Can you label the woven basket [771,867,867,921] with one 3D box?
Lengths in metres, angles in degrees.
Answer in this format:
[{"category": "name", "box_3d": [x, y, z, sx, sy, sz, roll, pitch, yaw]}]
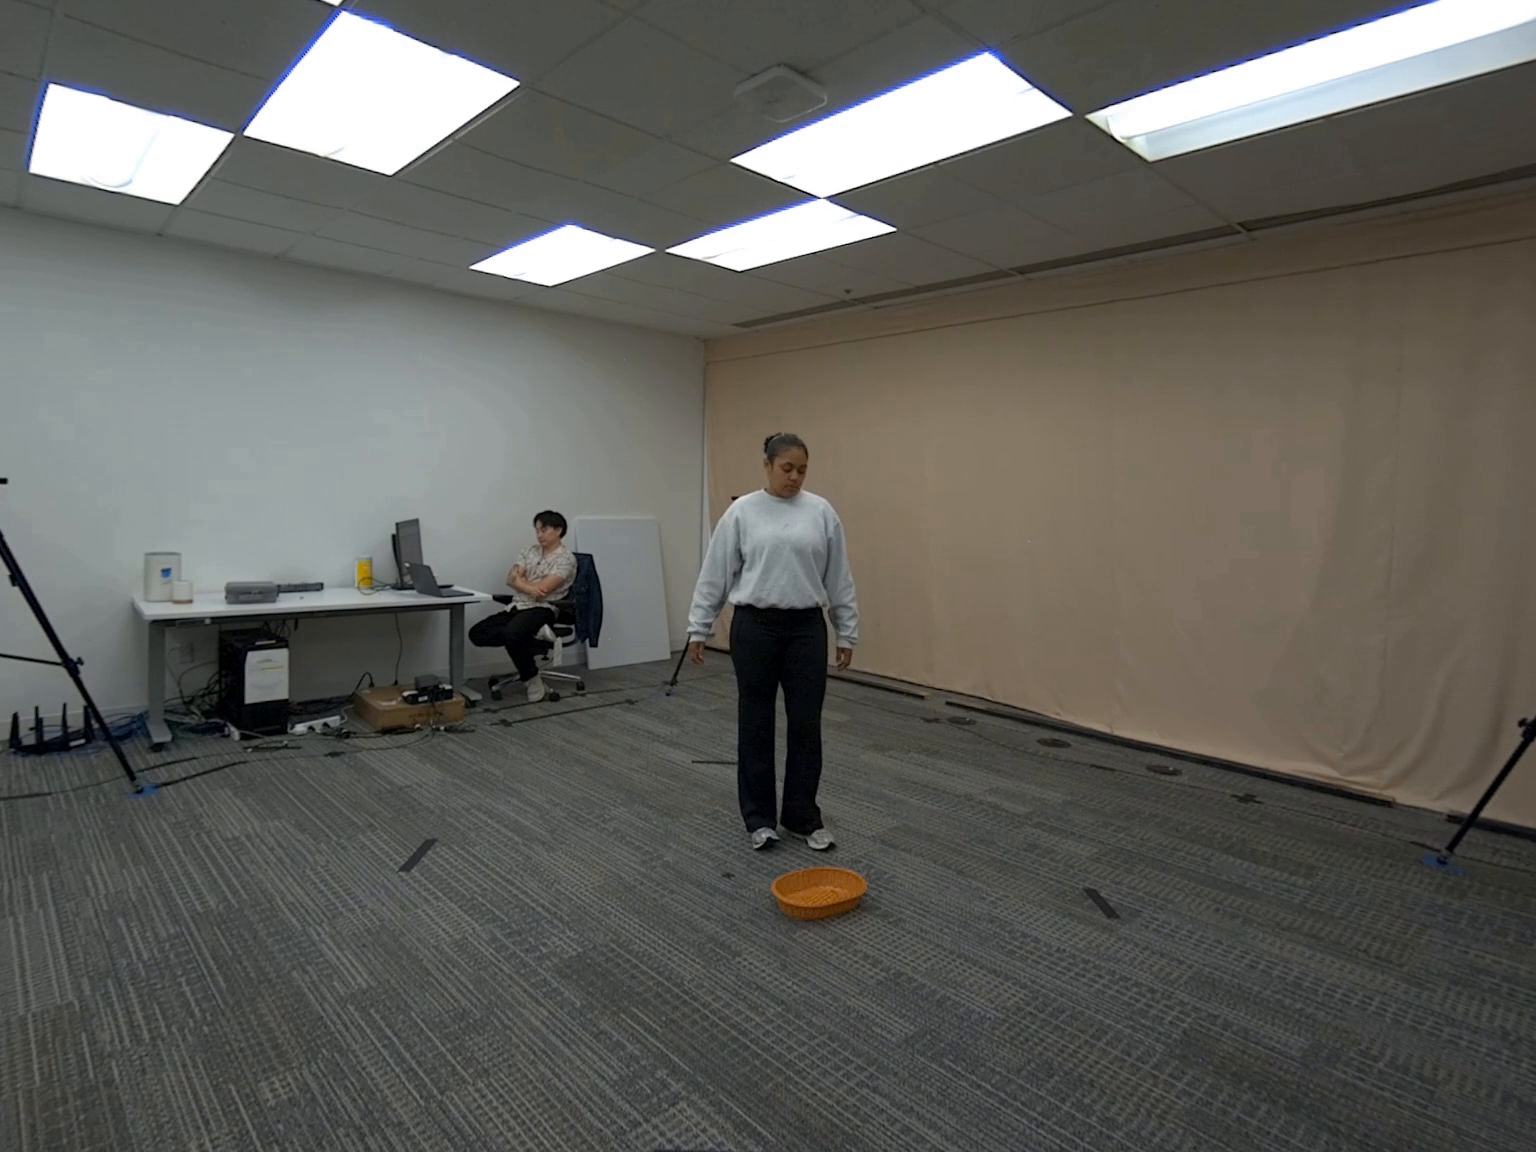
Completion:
[{"category": "woven basket", "box_3d": [0.162, 1.095, 2.896, 0.344, 0.073, 0.258, -2, 5, -29]}]
